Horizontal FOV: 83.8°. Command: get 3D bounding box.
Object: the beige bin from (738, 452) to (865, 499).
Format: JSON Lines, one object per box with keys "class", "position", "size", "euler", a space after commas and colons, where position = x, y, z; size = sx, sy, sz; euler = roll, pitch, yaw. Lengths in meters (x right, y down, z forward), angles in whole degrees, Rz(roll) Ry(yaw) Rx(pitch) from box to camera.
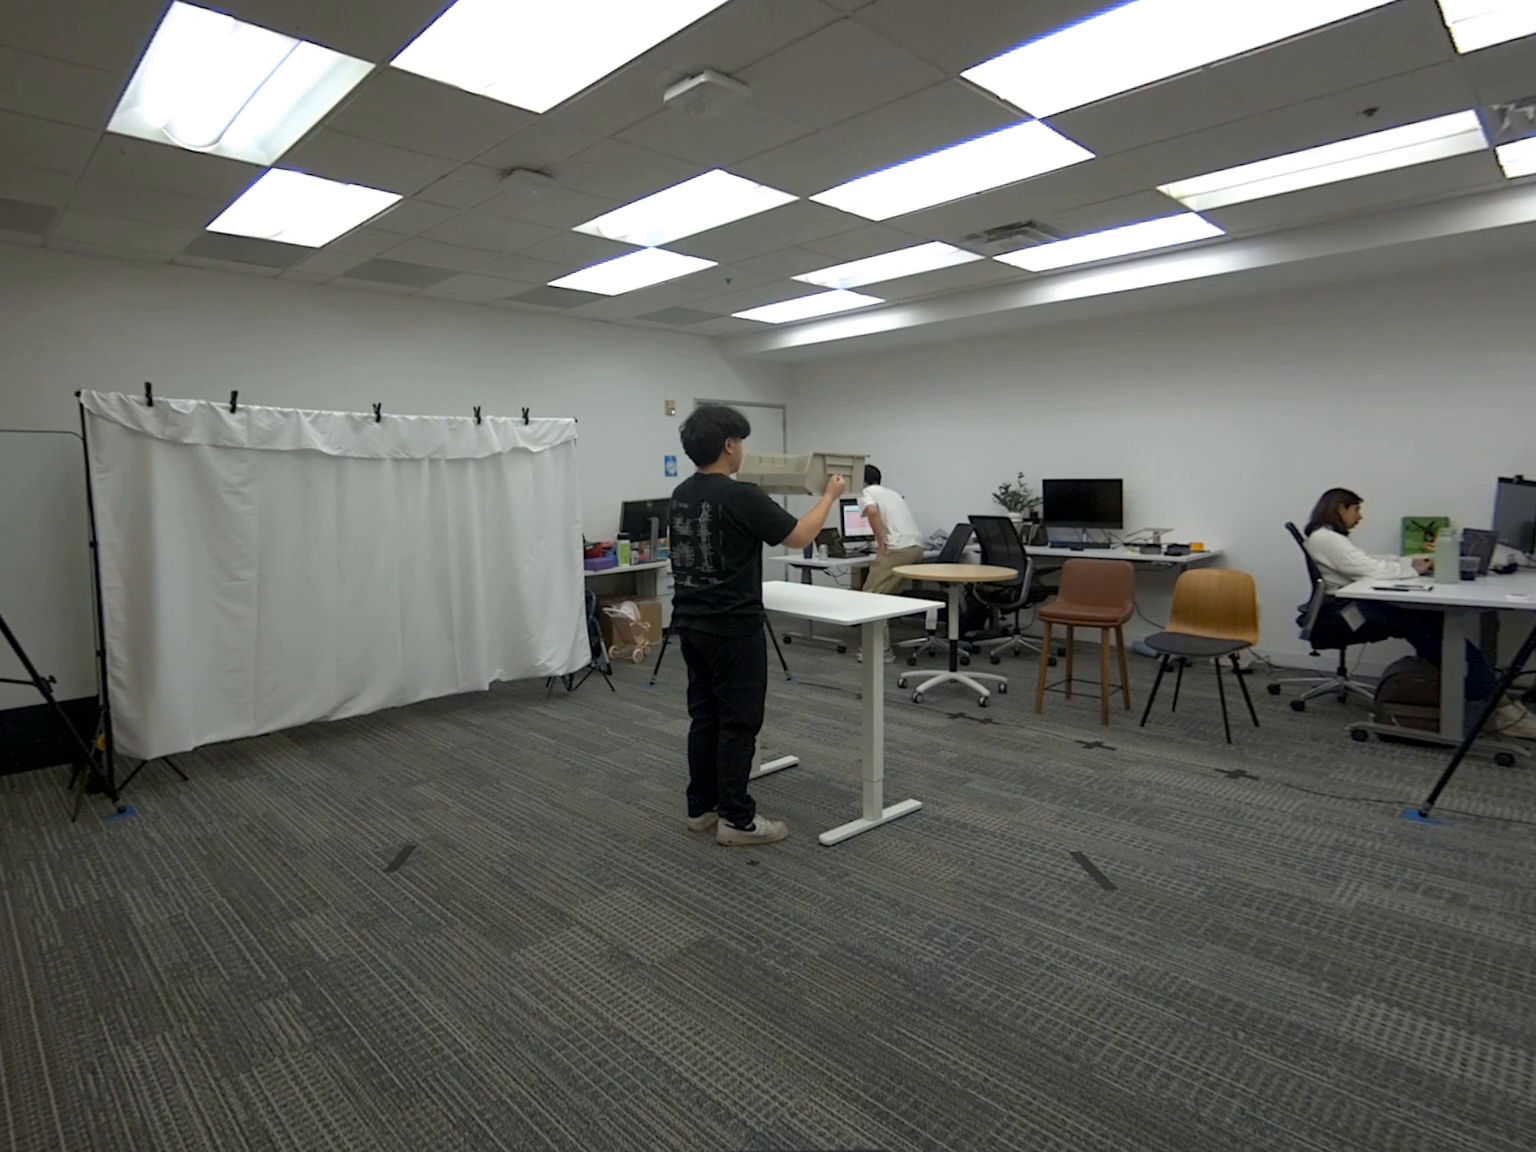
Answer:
{"class": "beige bin", "position": [0.141, -0.424, 3.608], "size": [0.367, 0.188, 0.435], "euler": [-3, 6, -41]}
